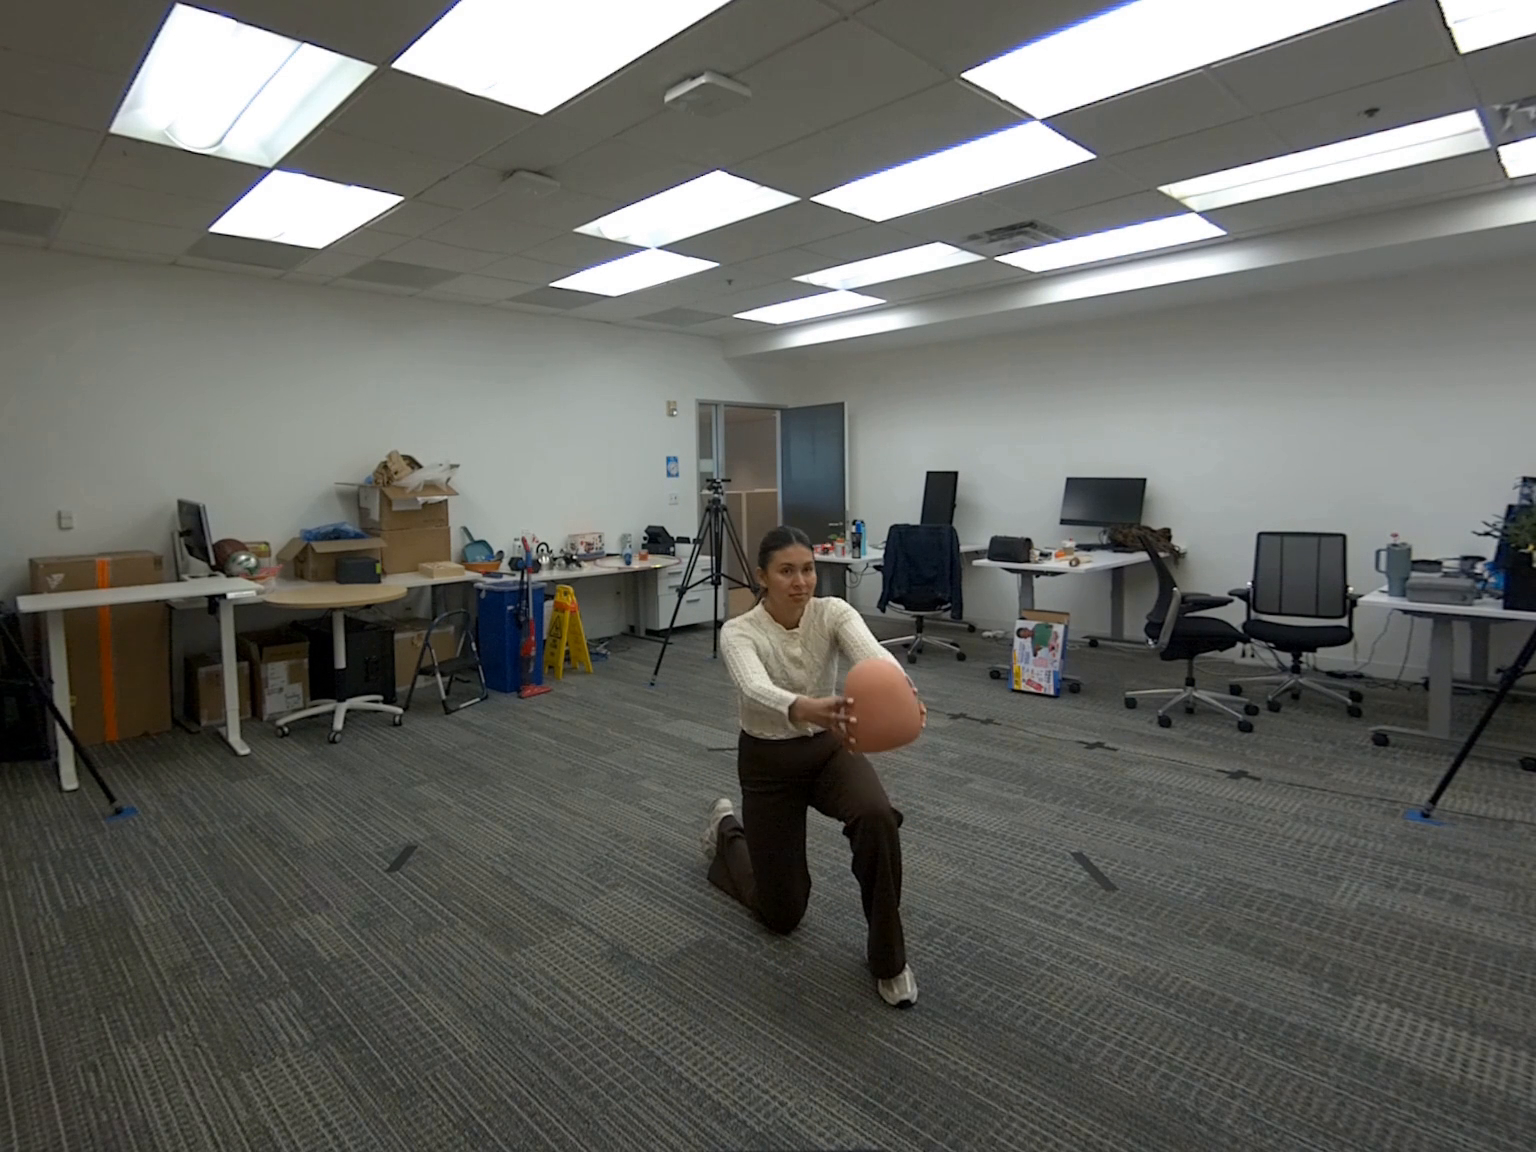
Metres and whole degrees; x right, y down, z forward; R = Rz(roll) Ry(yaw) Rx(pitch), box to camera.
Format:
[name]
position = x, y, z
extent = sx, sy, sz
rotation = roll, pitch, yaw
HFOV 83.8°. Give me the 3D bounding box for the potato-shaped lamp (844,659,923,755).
[potato-shaped lamp]
position = 0.249, 0.289, 1.871
extent = 0.165, 0.201, 0.168
rotation = -11, -13, 5
